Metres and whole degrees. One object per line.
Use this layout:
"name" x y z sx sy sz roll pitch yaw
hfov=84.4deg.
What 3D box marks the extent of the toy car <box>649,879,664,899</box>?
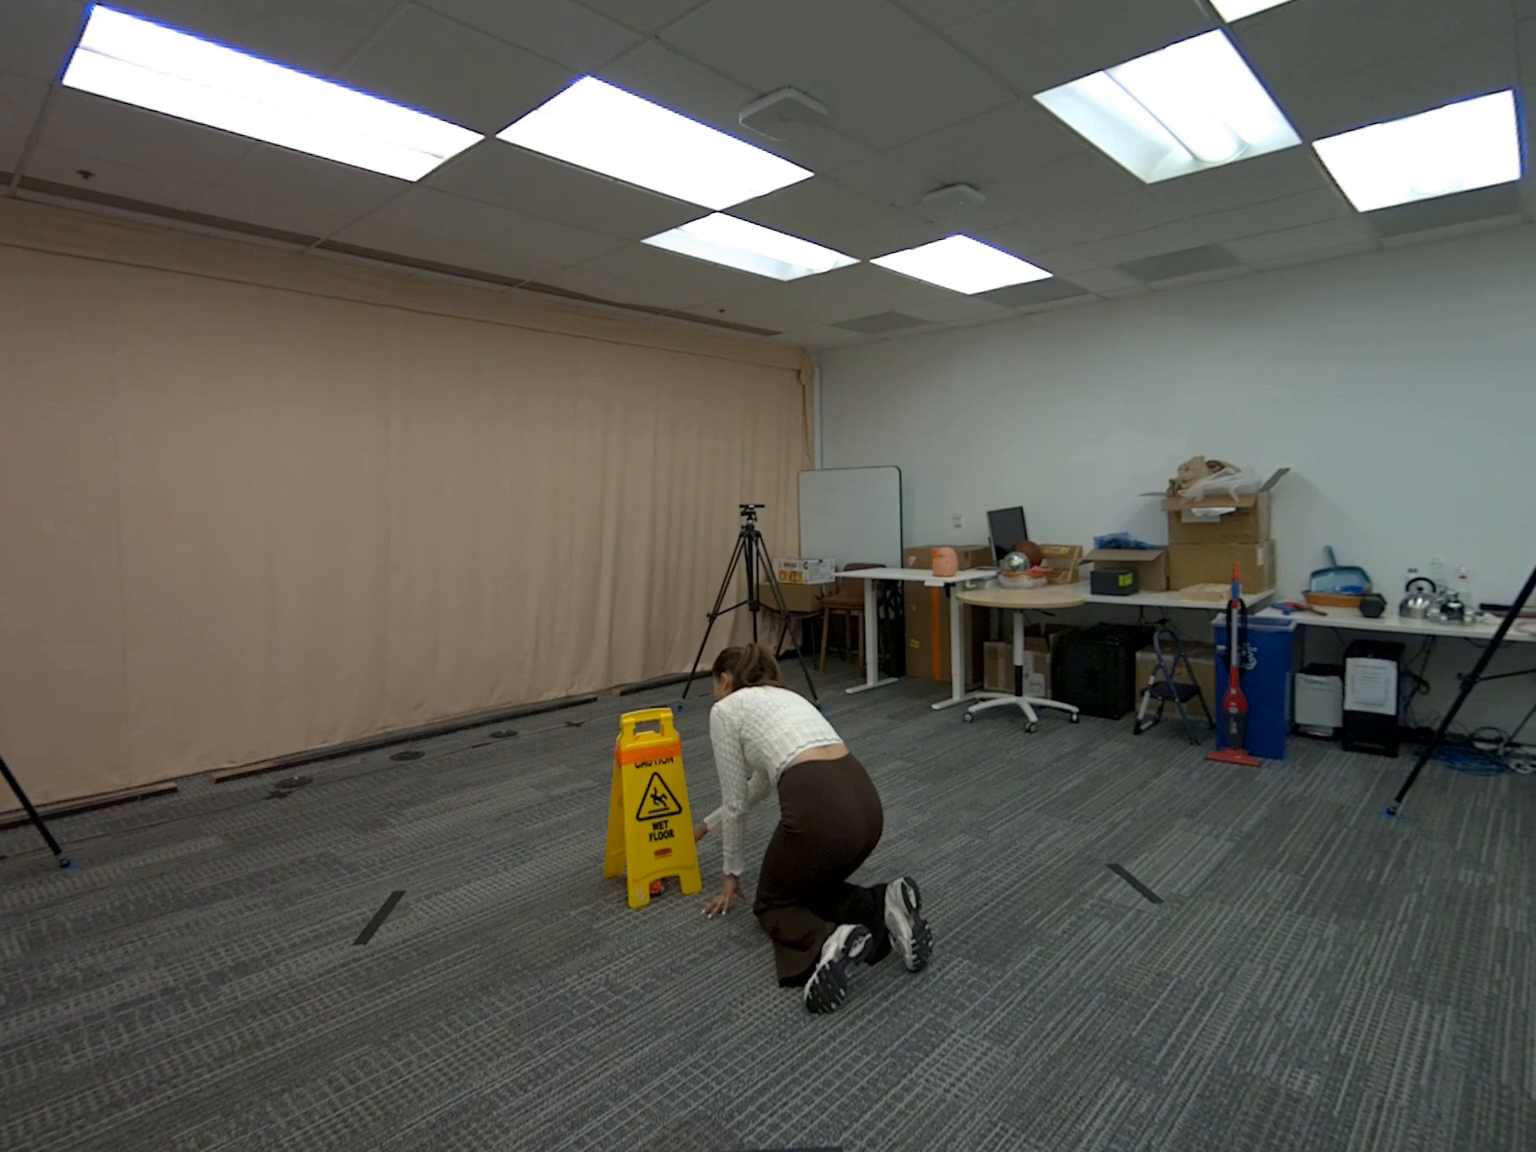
"toy car" -0.442 1.106 3.115 0.131 0.082 0.256 -2 16 2
